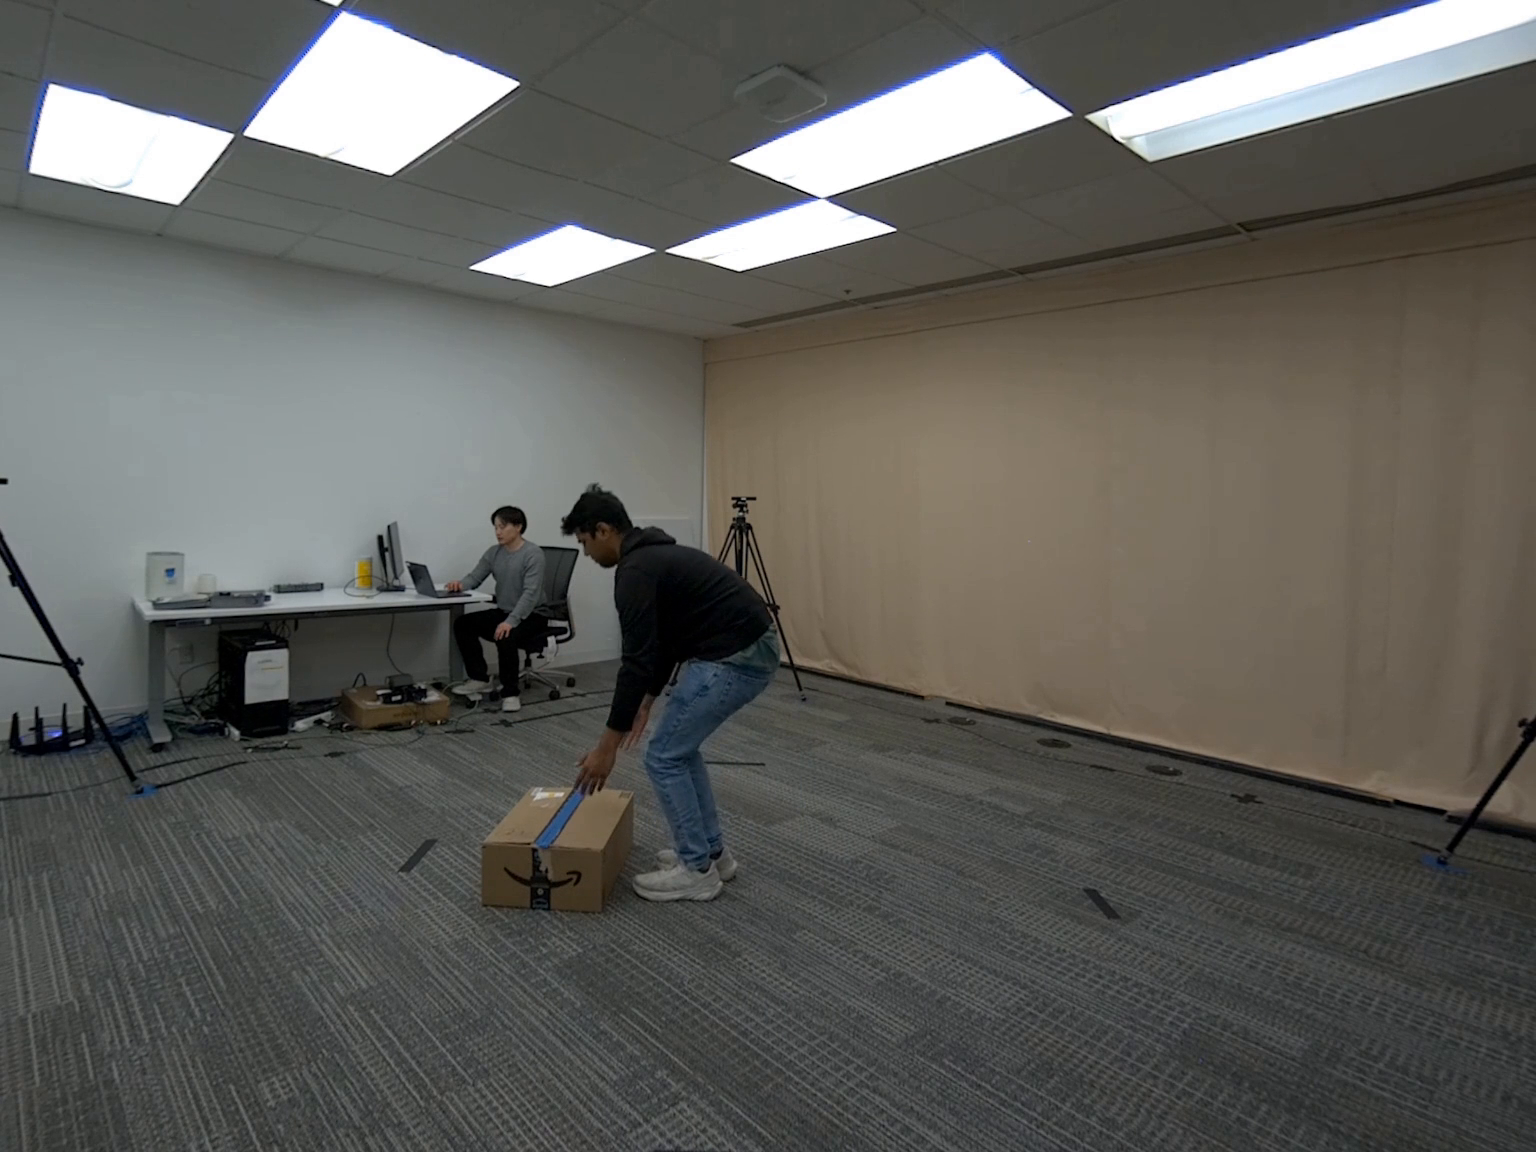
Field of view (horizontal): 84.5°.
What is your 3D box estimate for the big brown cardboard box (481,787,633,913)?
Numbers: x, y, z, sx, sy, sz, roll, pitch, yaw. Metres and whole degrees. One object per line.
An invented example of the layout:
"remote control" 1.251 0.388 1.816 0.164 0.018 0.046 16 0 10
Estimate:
"big brown cardboard box" -0.756 0.982 3.095 0.419 0.232 0.589 1 6 2
